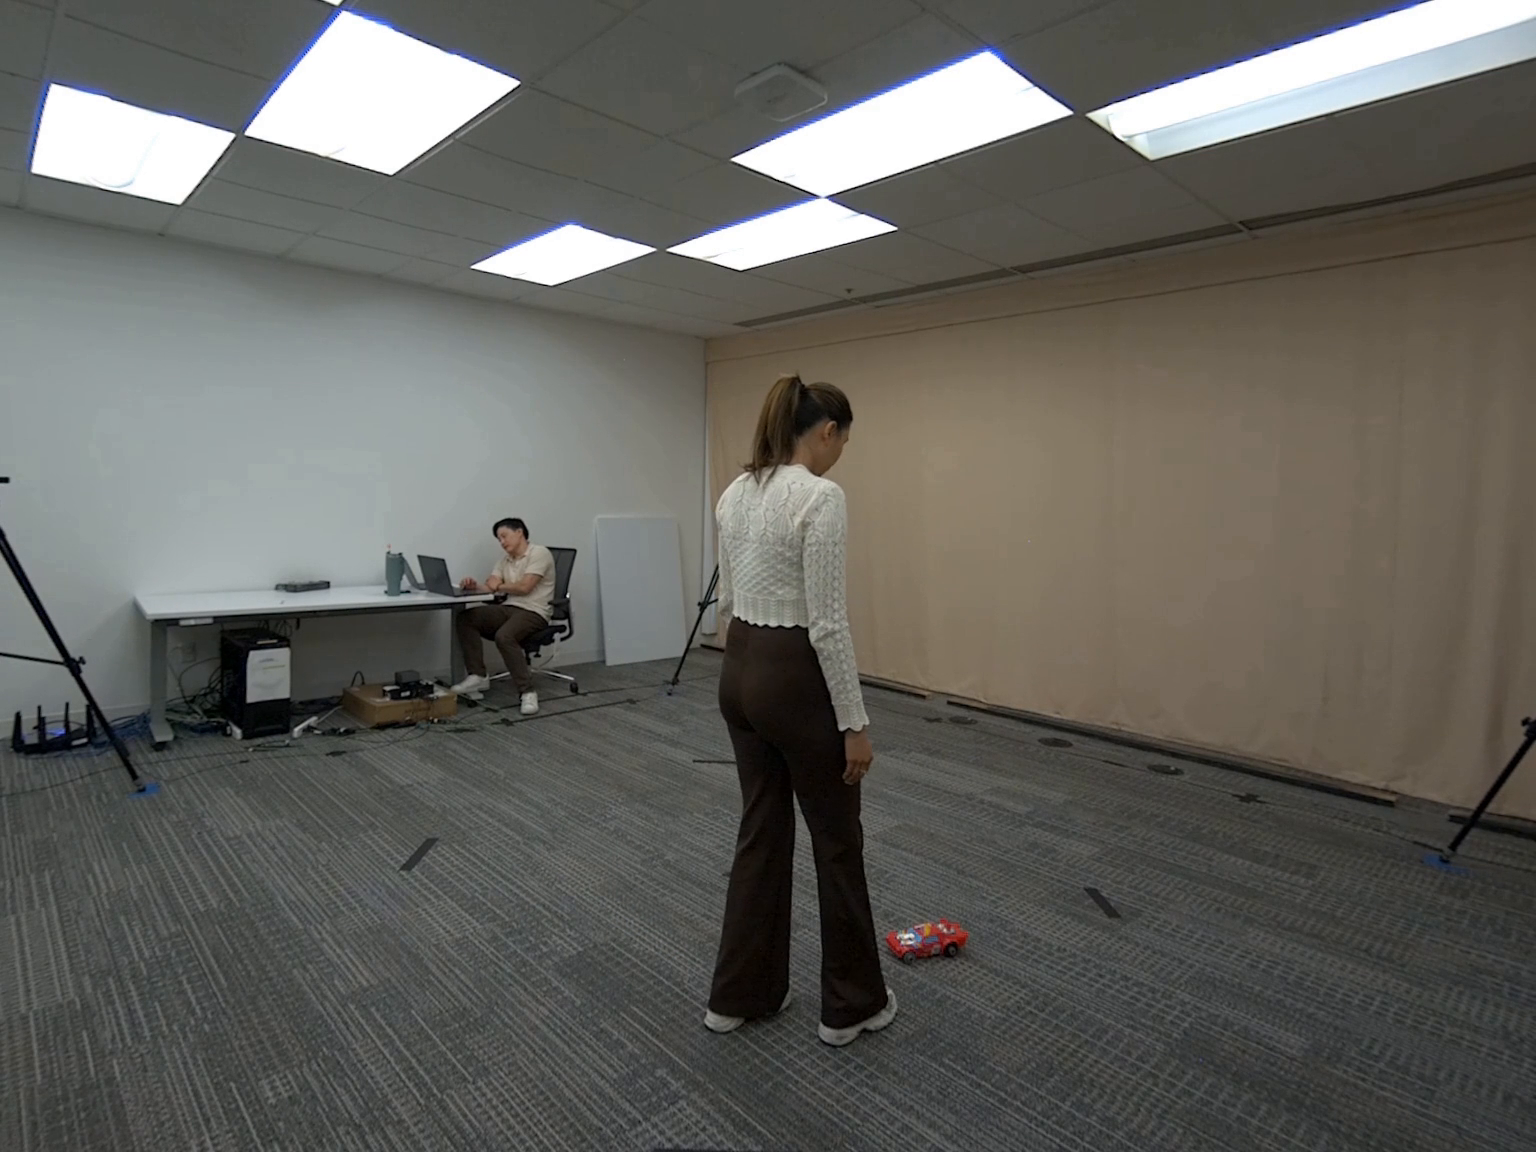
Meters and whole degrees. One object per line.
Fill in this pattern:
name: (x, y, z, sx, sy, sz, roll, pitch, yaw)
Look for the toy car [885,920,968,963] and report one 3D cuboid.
toy car: (0.493, 1.134, 2.606, 0.252, 0.082, 0.132, -12, 9, -17)
